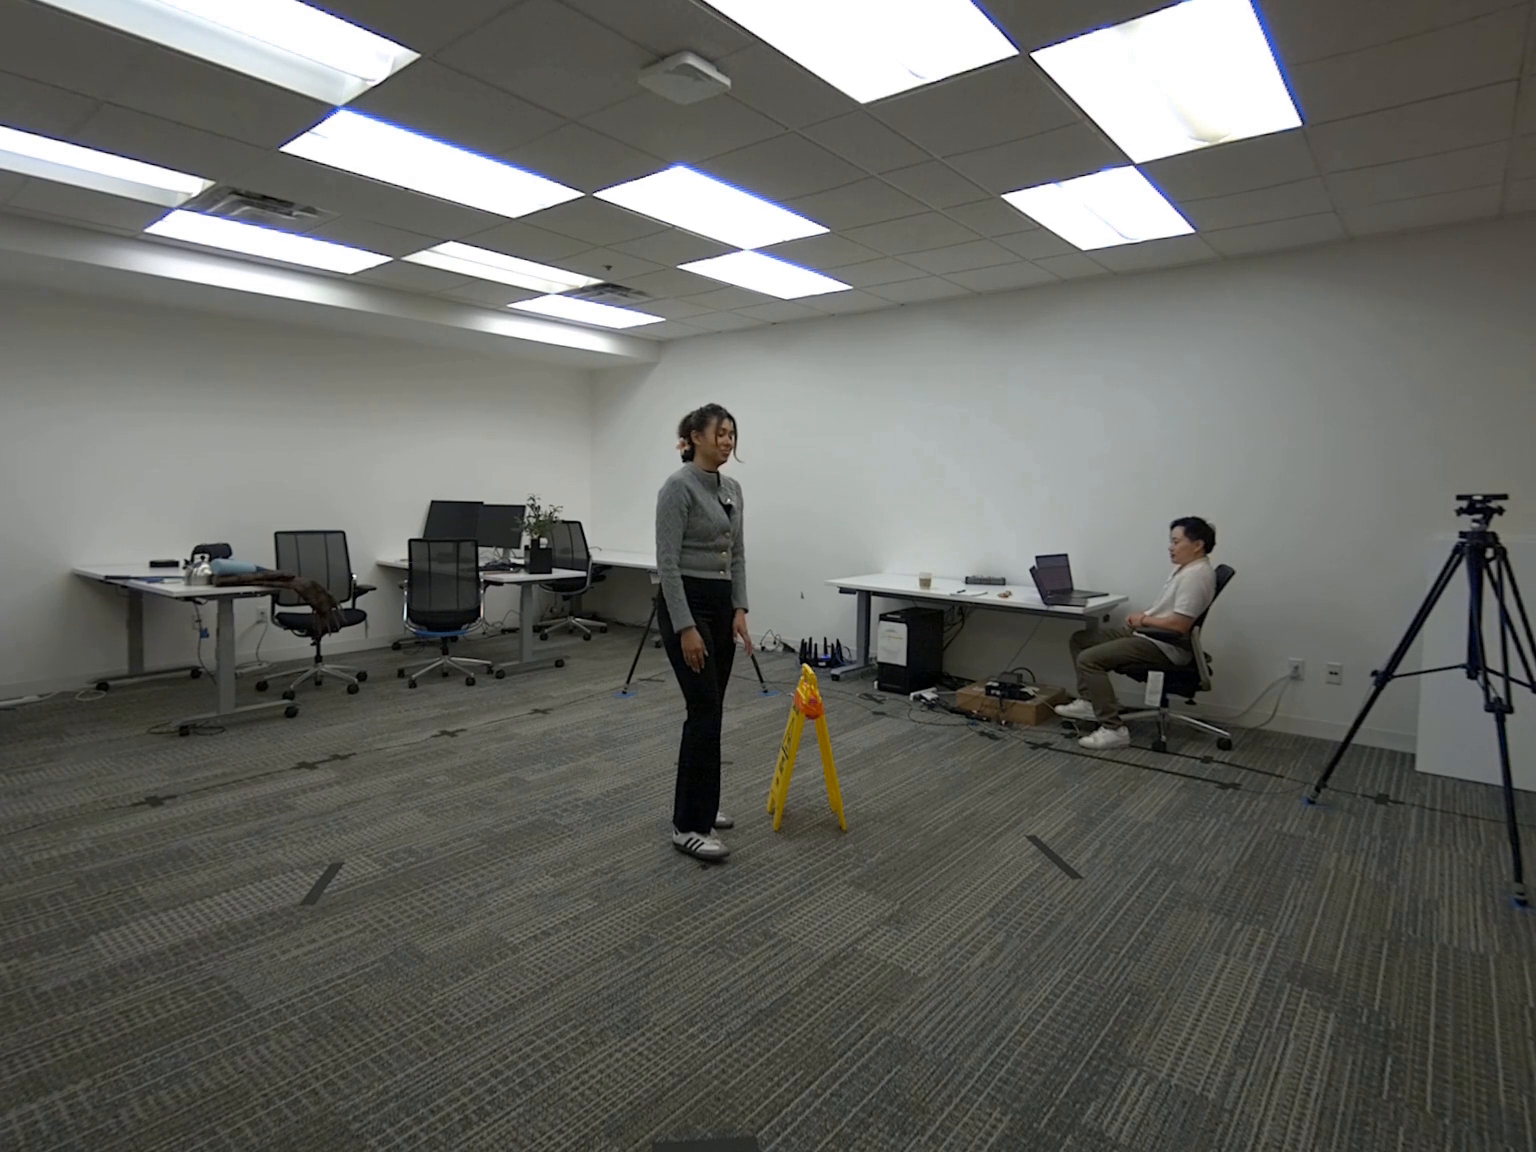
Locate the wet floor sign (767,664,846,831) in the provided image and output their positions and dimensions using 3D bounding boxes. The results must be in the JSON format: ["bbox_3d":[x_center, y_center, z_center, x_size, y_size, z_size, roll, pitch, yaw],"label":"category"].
[{"bbox_3d":[0.156,0.700,3.571,0.288,0.643,0.285,0,5,-6],"label":"wet floor sign"}]
